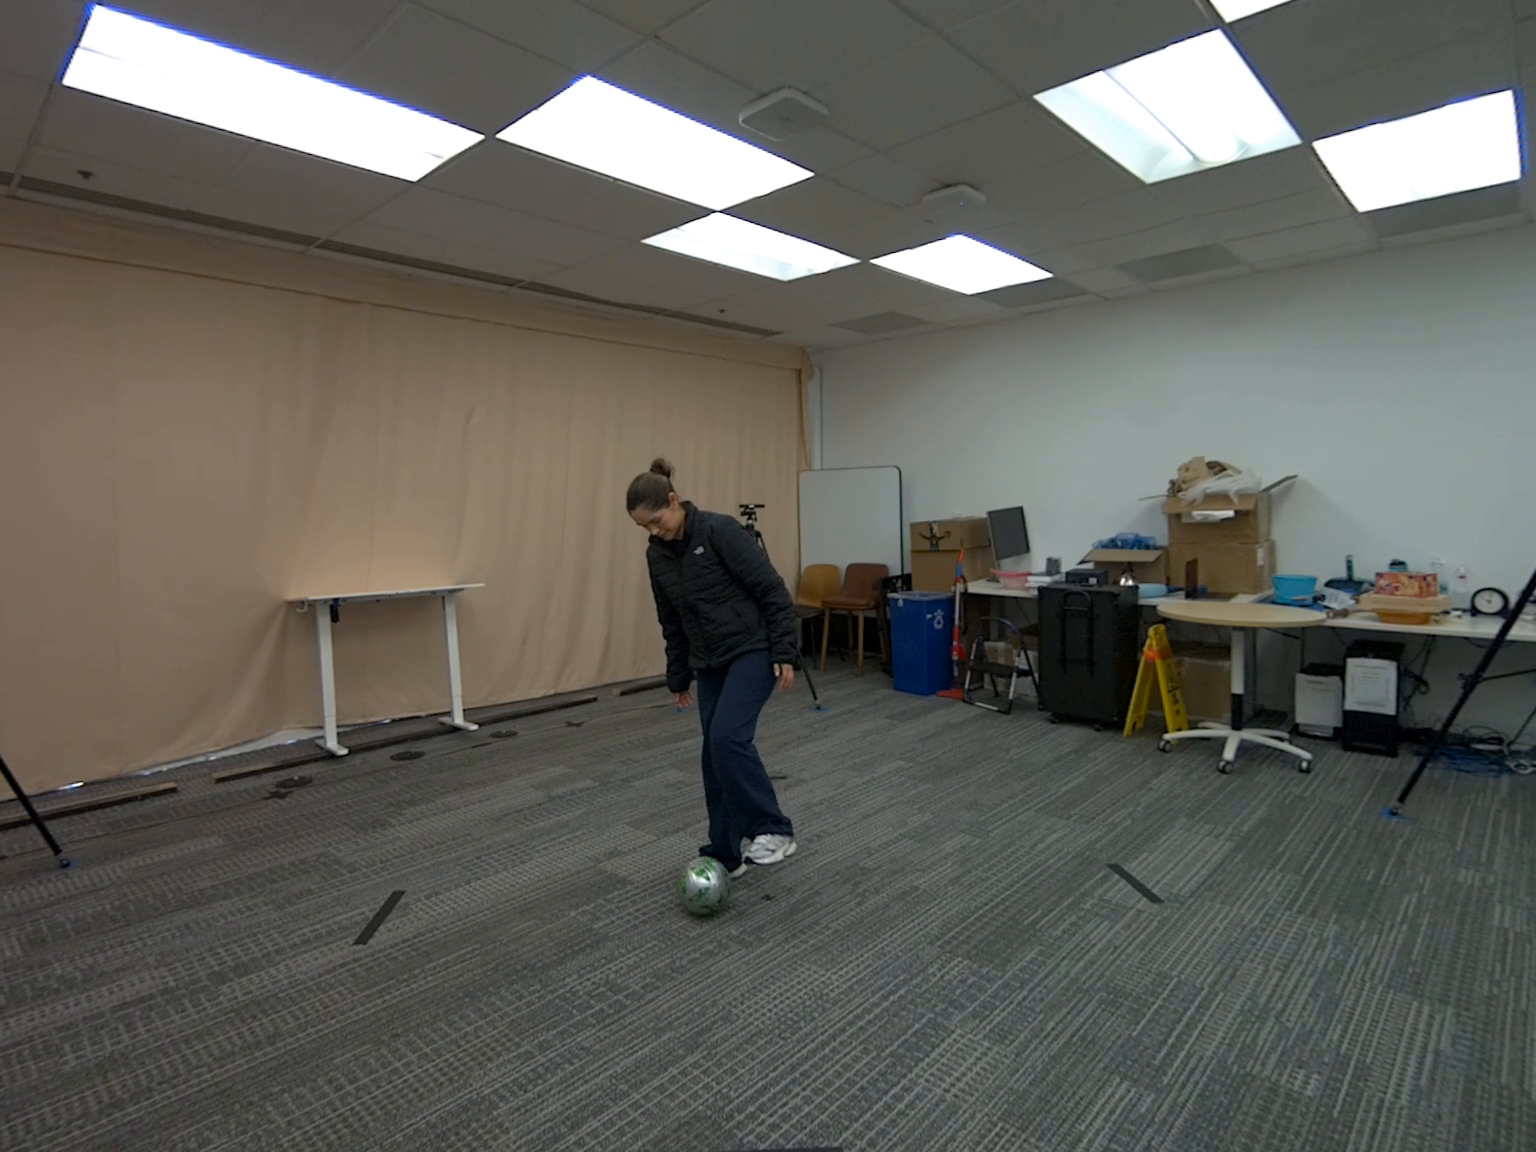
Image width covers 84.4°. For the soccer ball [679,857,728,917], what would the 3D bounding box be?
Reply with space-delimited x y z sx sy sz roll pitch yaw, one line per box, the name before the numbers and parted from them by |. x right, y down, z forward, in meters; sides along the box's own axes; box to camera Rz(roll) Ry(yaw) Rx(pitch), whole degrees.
soccer ball | -0.219 1.058 2.879 0.187 0.187 0.188 -1 4 -2
